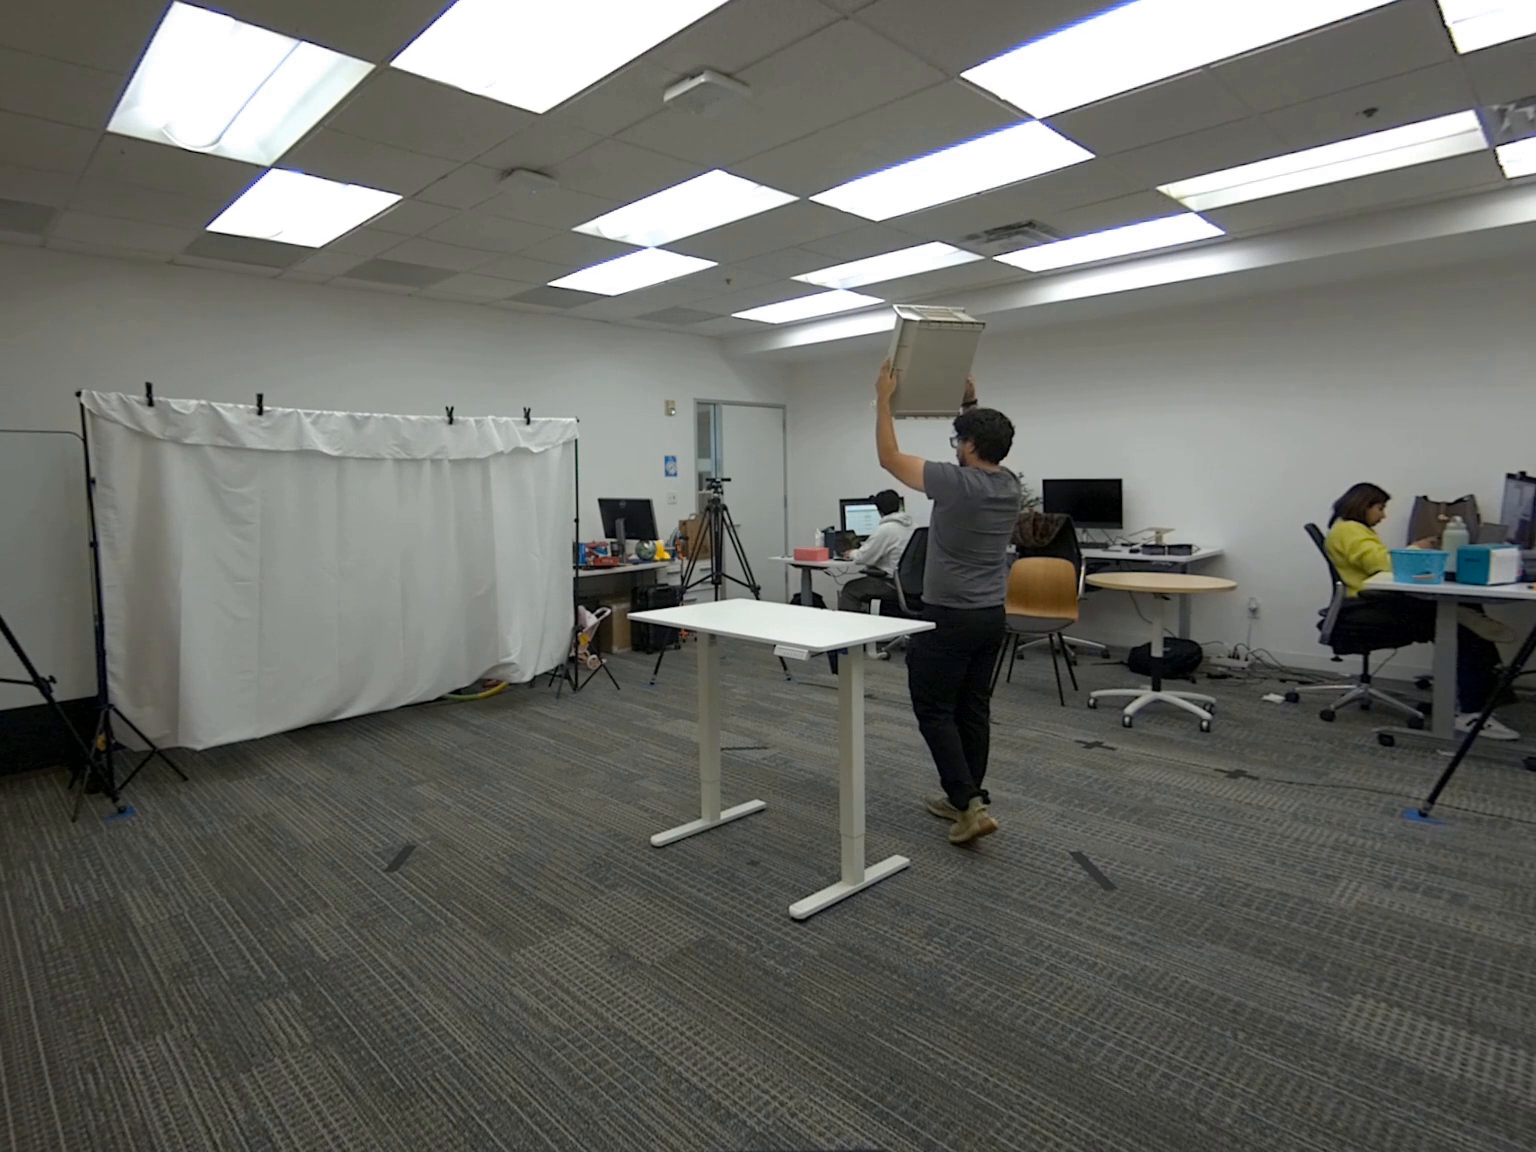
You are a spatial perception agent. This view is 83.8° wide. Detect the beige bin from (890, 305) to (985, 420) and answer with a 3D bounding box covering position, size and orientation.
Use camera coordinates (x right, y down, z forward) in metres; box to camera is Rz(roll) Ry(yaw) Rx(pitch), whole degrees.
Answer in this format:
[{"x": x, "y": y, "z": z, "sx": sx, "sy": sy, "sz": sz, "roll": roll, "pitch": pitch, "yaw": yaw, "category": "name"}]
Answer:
[{"x": 0.644, "y": -0.867, "z": 3.471, "sx": 0.370, "sy": 0.414, "sz": 0.196, "roll": -3, "pitch": 32, "yaw": -22, "category": "beige bin"}]
